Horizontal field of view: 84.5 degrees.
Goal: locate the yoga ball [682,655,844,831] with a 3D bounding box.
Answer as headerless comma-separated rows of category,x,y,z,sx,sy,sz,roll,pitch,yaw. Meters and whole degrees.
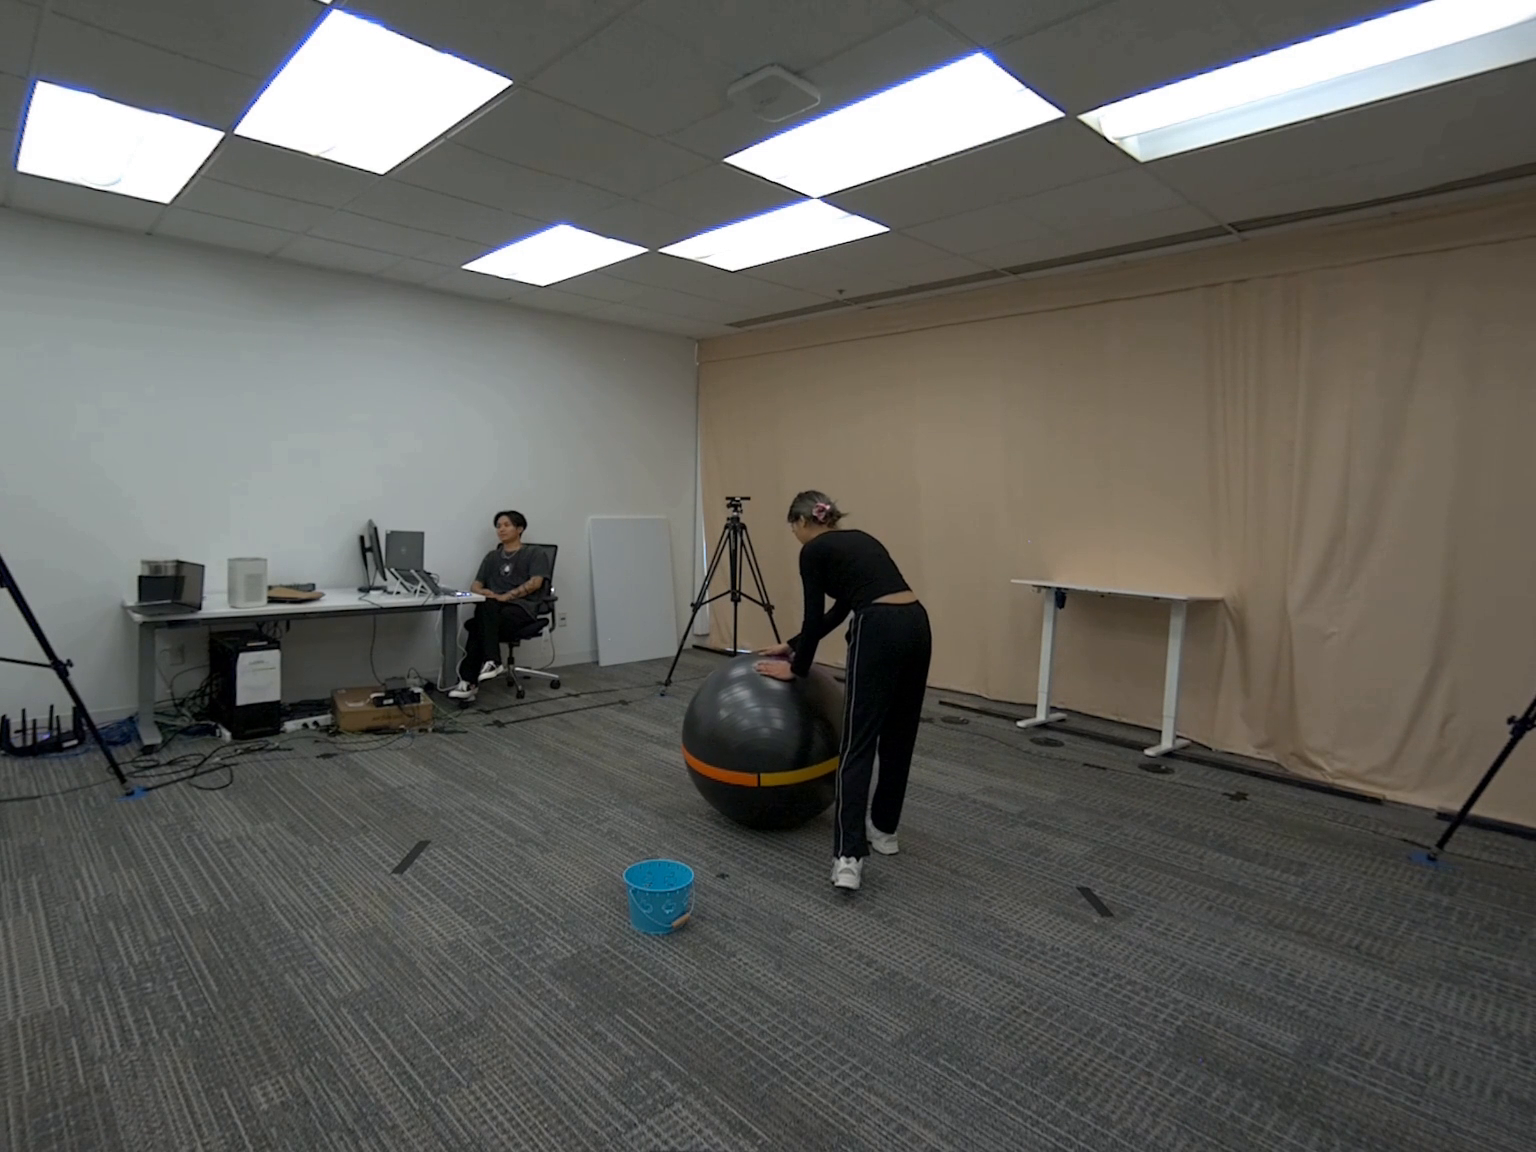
yoga ball,0.003,0.703,3.664,0.757,0.756,0.761,1,4,-1
